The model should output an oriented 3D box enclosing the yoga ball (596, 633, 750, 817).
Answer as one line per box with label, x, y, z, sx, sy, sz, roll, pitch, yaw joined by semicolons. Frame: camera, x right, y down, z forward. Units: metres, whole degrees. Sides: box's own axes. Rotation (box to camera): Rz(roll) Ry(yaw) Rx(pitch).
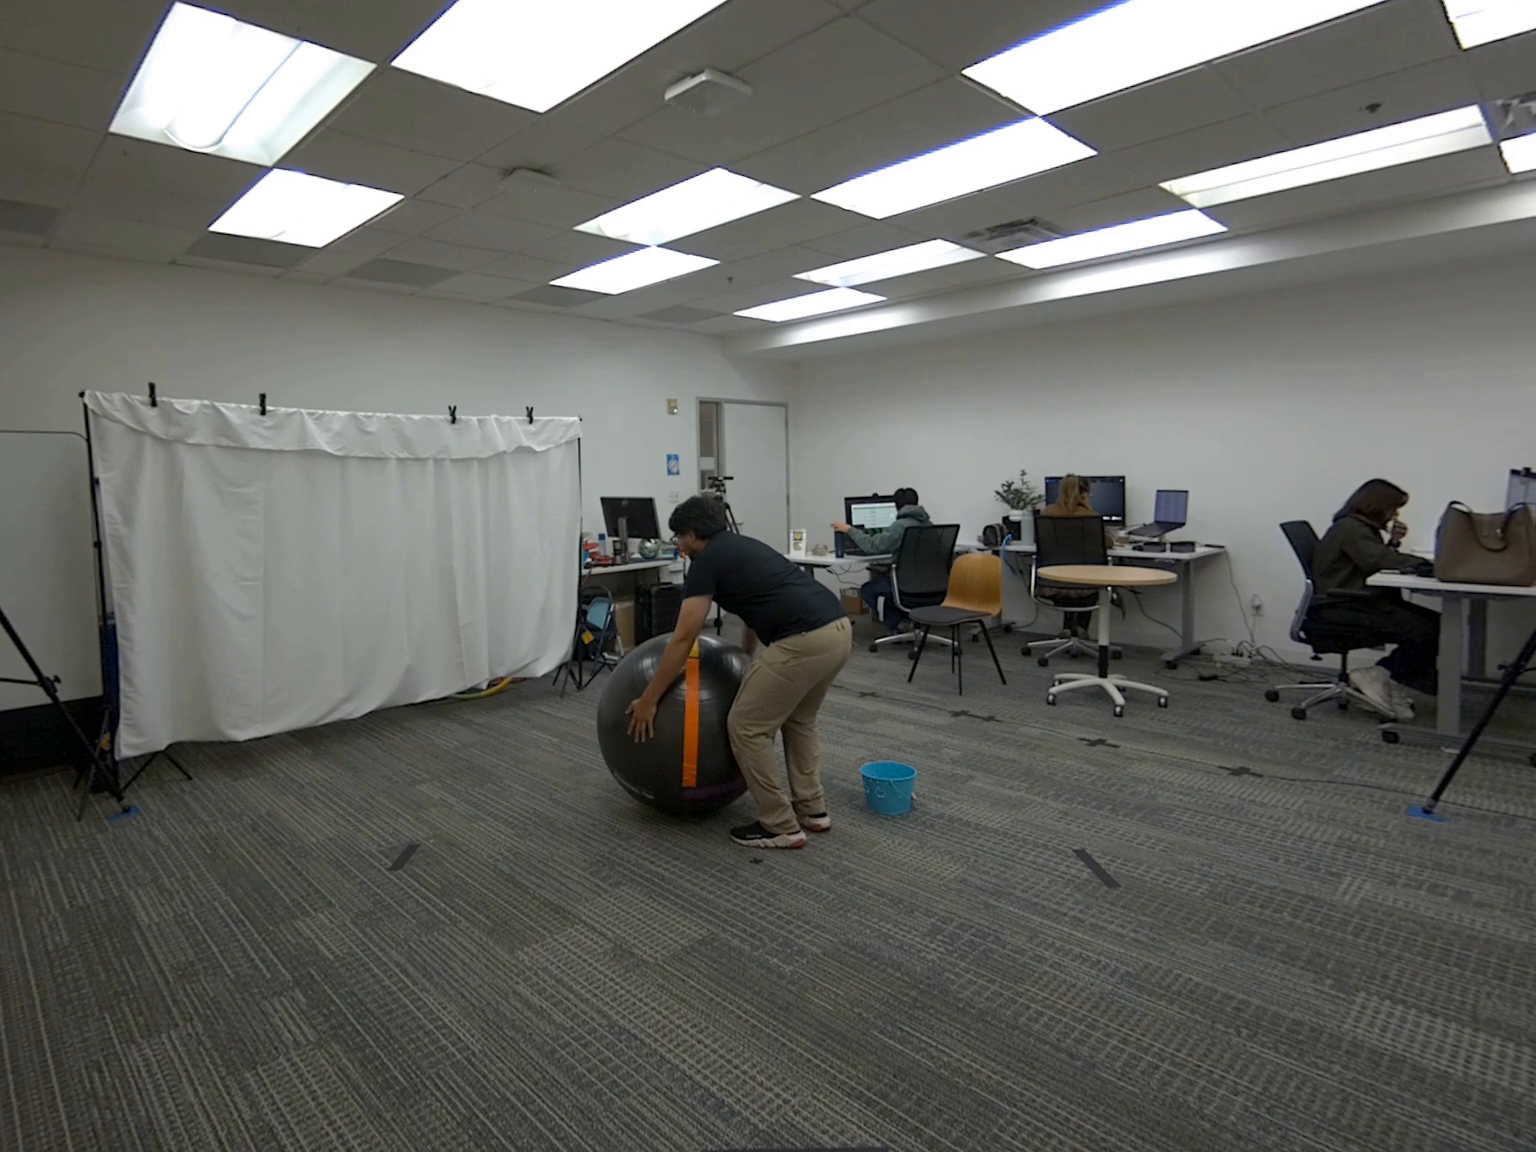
yoga ball;-0.346;0.610;3.622;0.757;0.755;0.762;-1;5;-2
